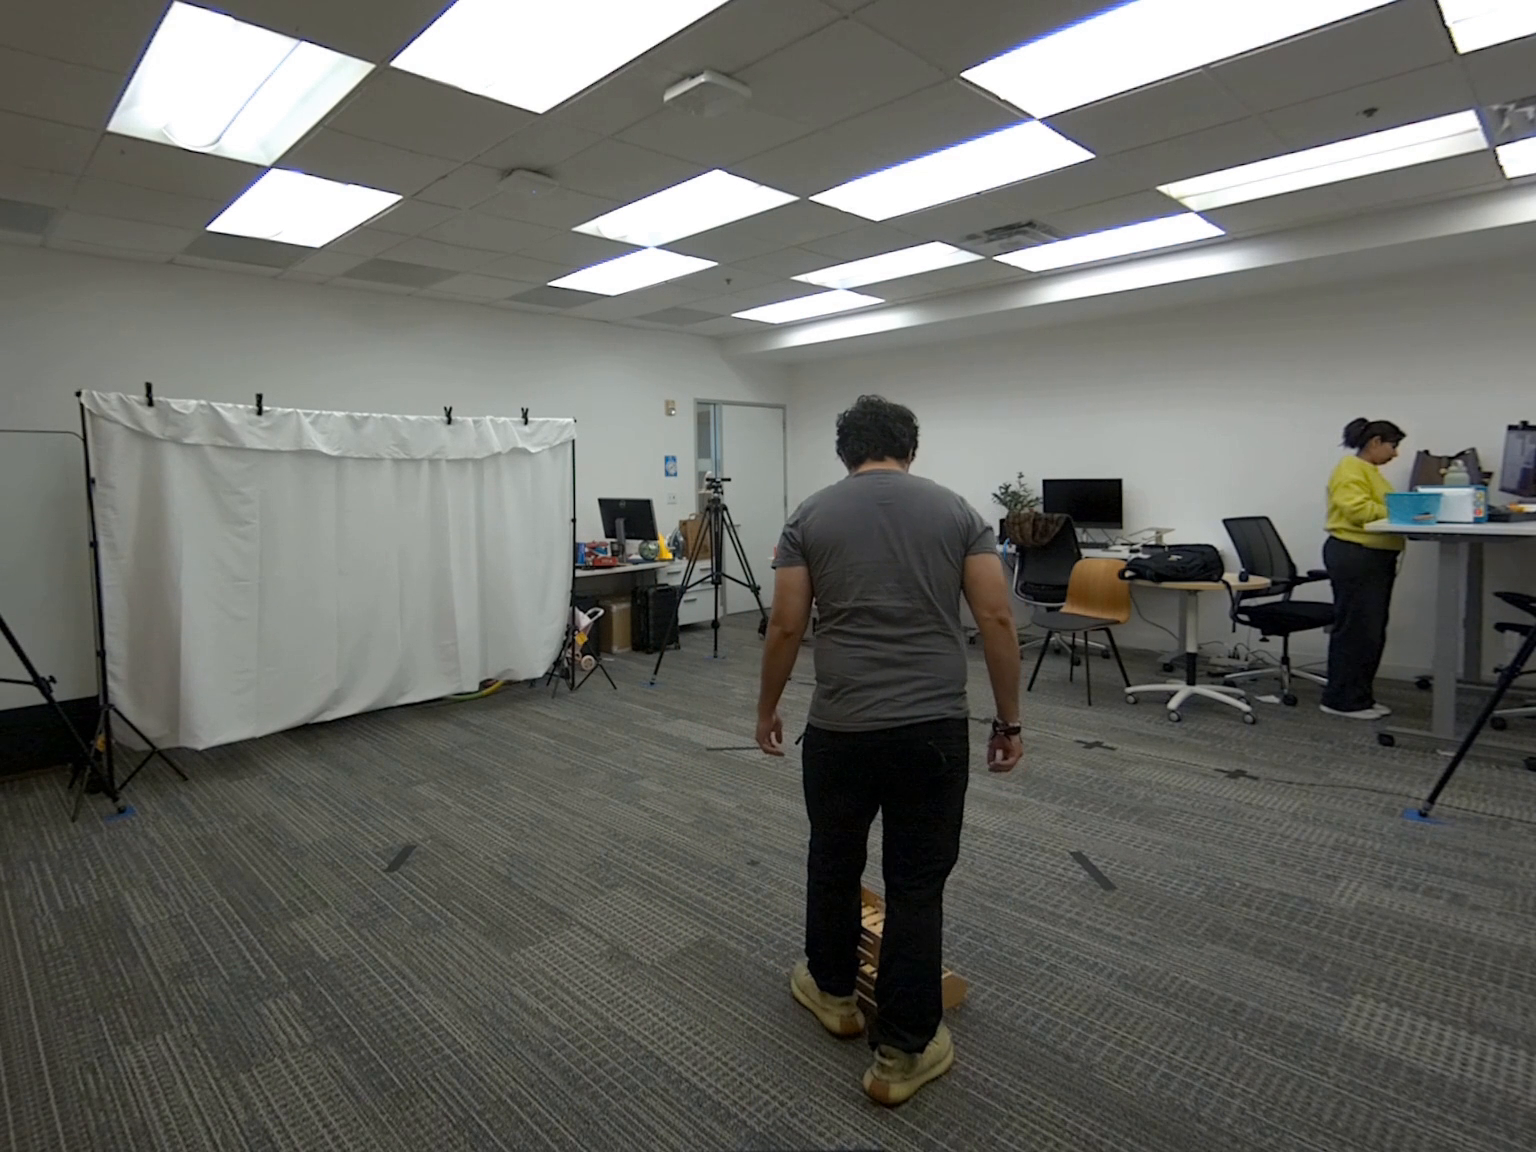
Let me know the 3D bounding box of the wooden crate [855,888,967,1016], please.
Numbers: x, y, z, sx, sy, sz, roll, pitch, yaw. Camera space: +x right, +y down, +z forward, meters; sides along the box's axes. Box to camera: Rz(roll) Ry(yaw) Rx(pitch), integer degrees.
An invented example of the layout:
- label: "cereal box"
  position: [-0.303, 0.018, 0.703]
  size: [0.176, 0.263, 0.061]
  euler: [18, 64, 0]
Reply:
- label: "wooden crate"
  position: [0.338, 1.000, 2.311]
  size: [0.294, 0.272, 0.334]
  euler: [-5, 7, -36]
